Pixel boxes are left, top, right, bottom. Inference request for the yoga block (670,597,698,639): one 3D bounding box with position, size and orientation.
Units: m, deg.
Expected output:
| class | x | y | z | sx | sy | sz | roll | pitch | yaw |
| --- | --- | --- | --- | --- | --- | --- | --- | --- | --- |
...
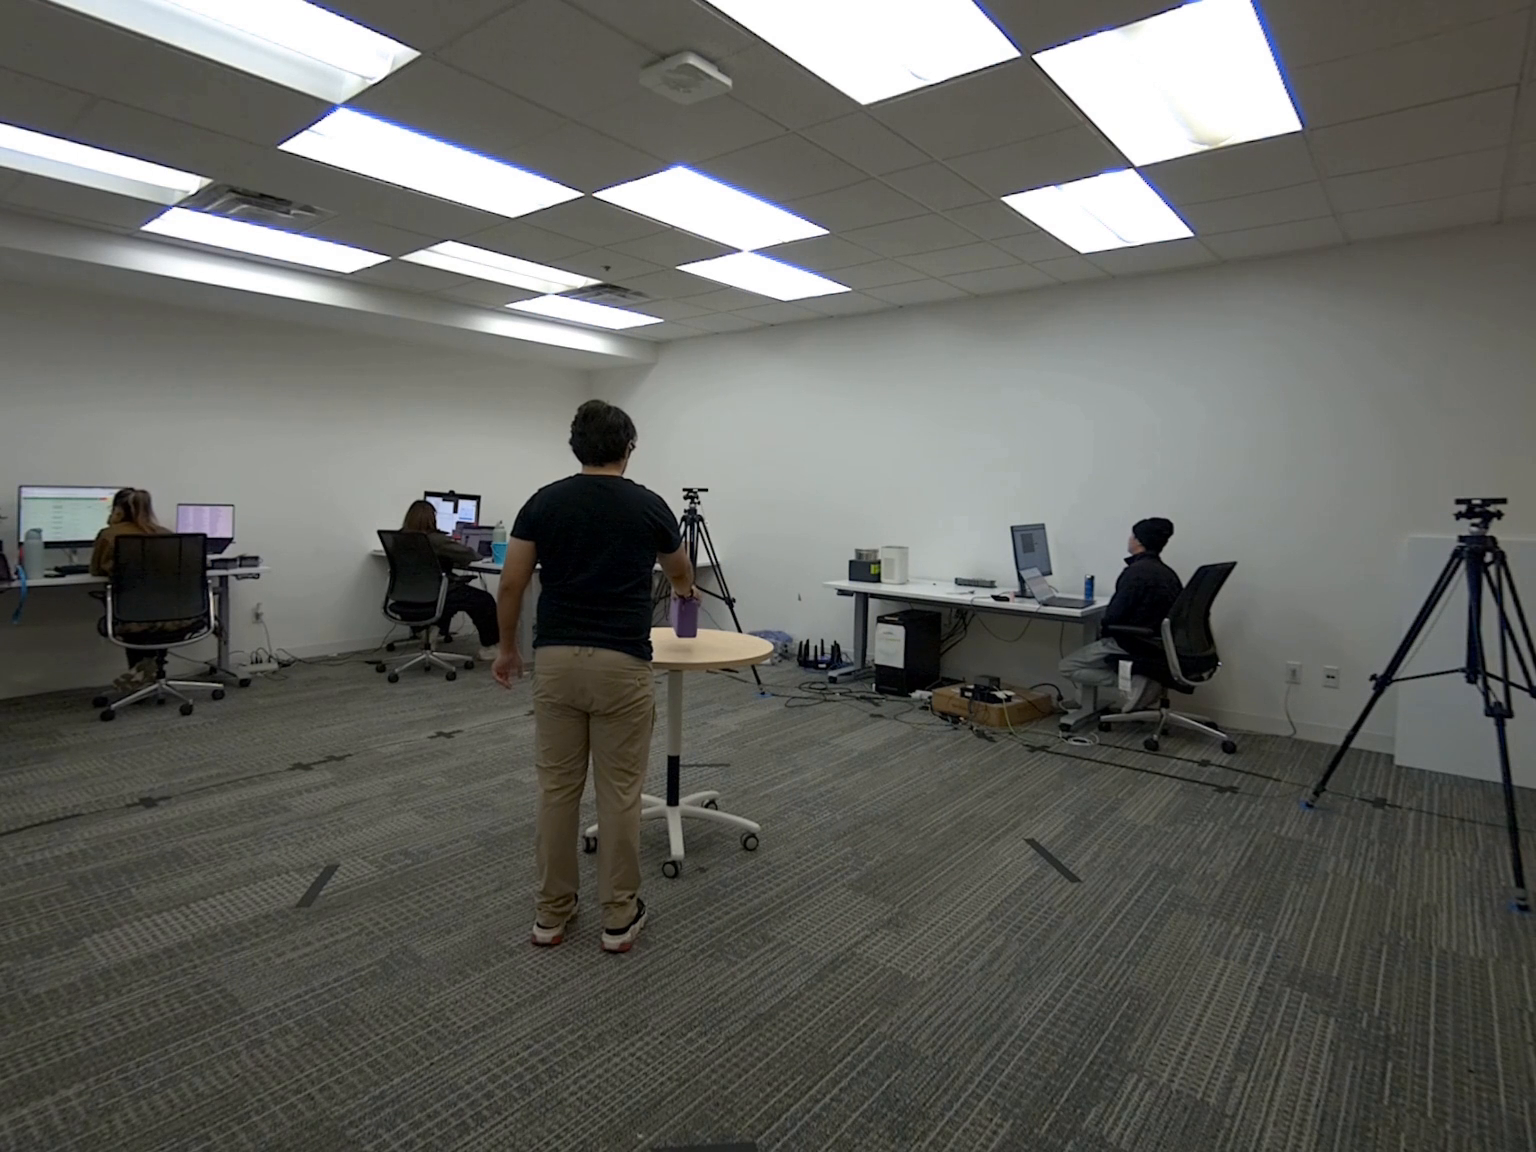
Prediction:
| class | x | y | z | sx | sy | sz | roll | pitch | yaw |
| --- | --- | --- | --- | --- | --- | --- | --- | --- | --- |
| yoga block | -0.334 | 0.127 | 3.232 | 0.075 | 0.147 | 0.235 | -3 | 15 | -13 |
